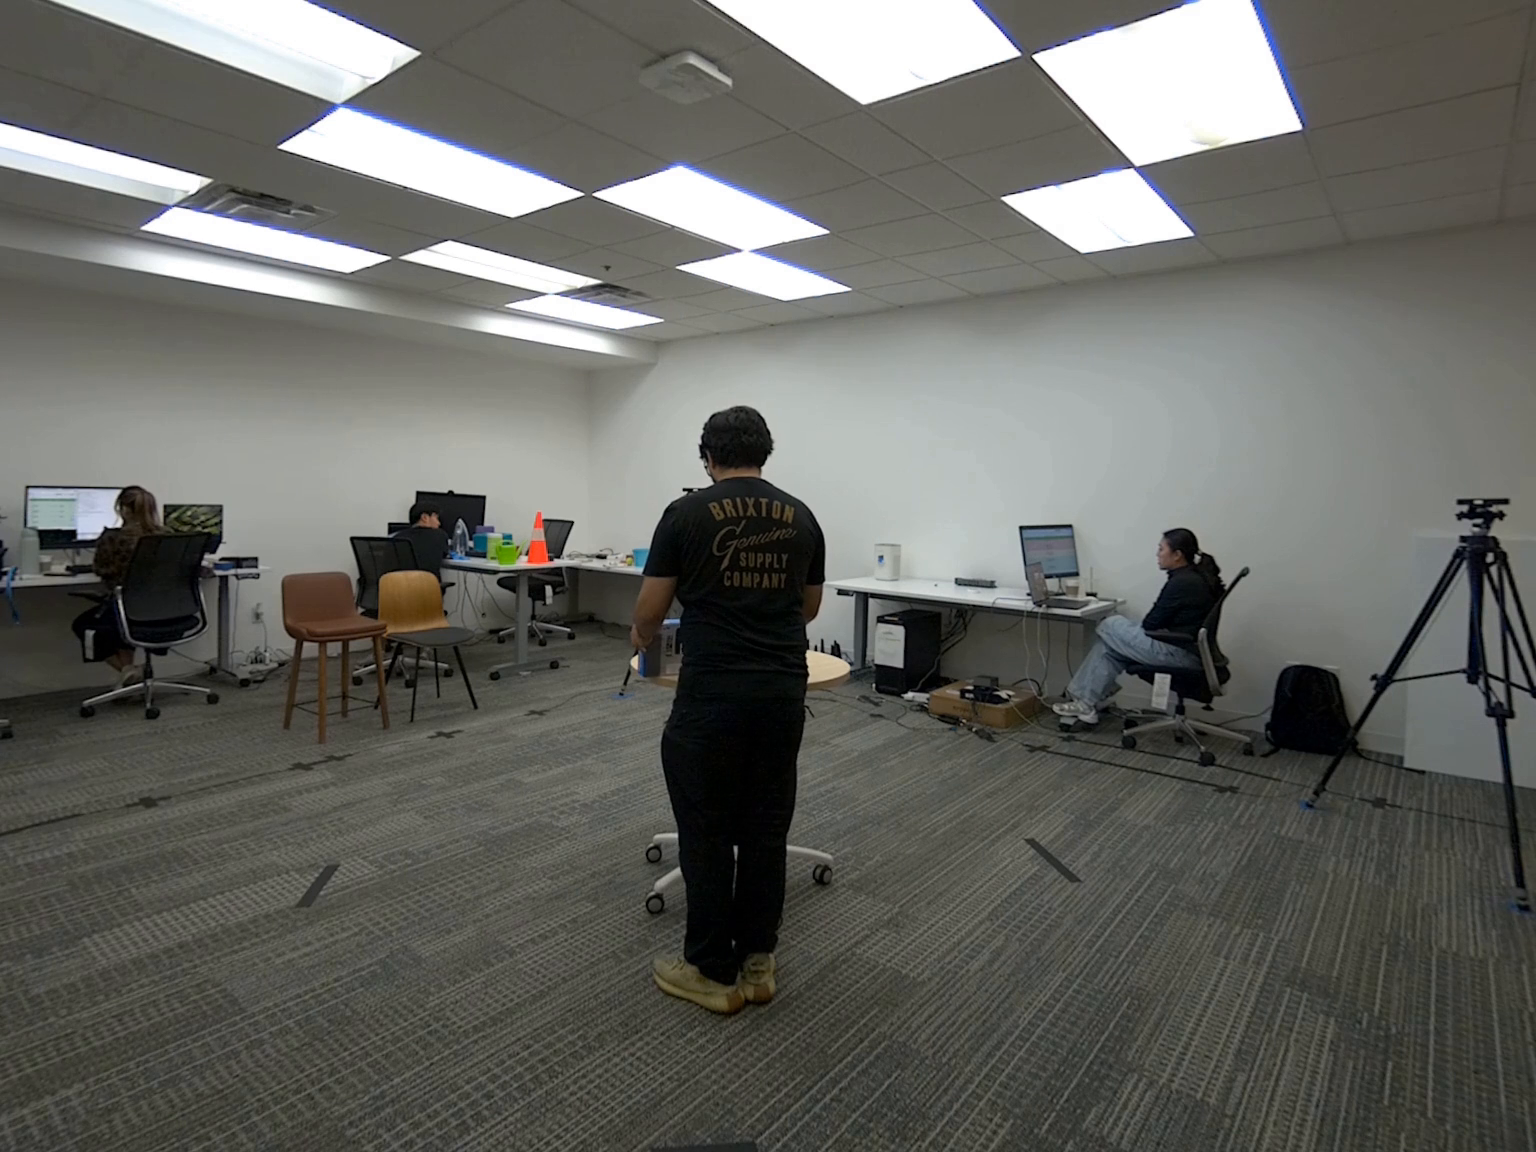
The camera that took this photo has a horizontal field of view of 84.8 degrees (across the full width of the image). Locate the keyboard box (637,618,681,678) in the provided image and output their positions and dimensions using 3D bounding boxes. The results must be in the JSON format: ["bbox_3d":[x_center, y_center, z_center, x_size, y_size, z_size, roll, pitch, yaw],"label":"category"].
[{"bbox_3d":[-0.221,0.227,2.802,0.426,0.175,0.061,-1,8,-25],"label":"keyboard box"}]
